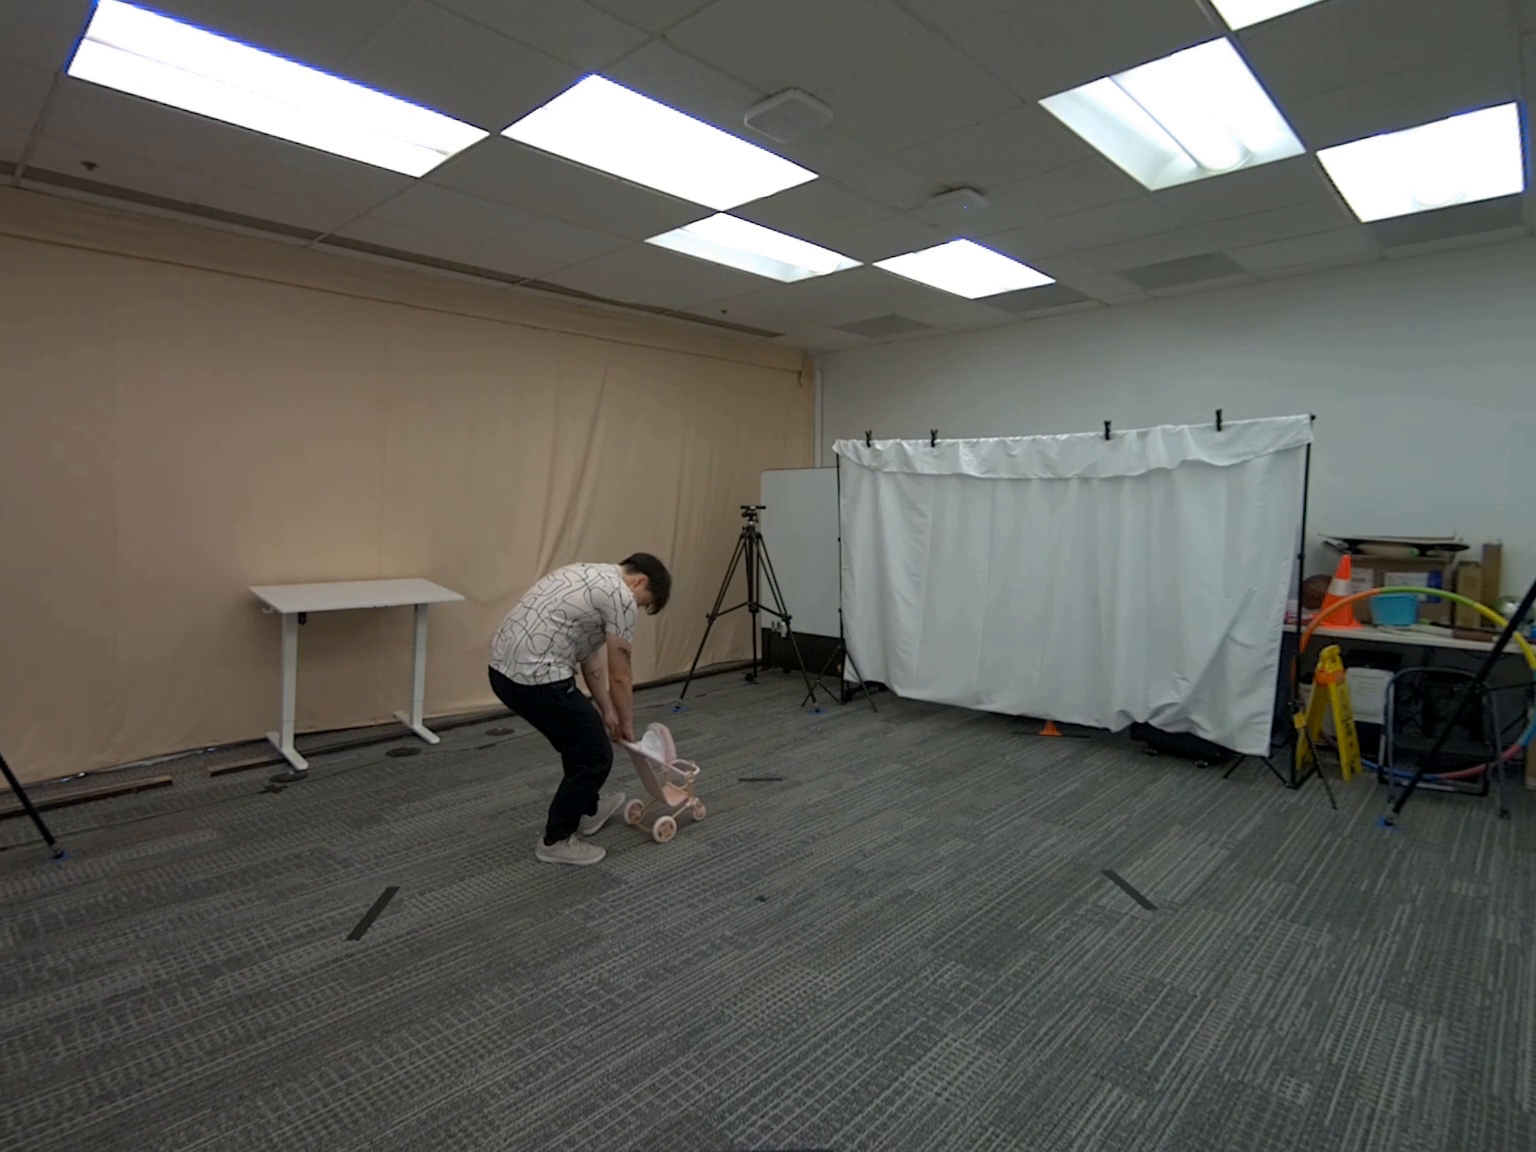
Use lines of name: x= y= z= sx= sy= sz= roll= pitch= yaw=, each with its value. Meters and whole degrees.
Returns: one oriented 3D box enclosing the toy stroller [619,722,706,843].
toy stroller: x=-0.454 y=0.872 z=3.615 sx=0.334 sy=0.530 sz=0.290 roll=-20 pitch=13 yaw=-30
